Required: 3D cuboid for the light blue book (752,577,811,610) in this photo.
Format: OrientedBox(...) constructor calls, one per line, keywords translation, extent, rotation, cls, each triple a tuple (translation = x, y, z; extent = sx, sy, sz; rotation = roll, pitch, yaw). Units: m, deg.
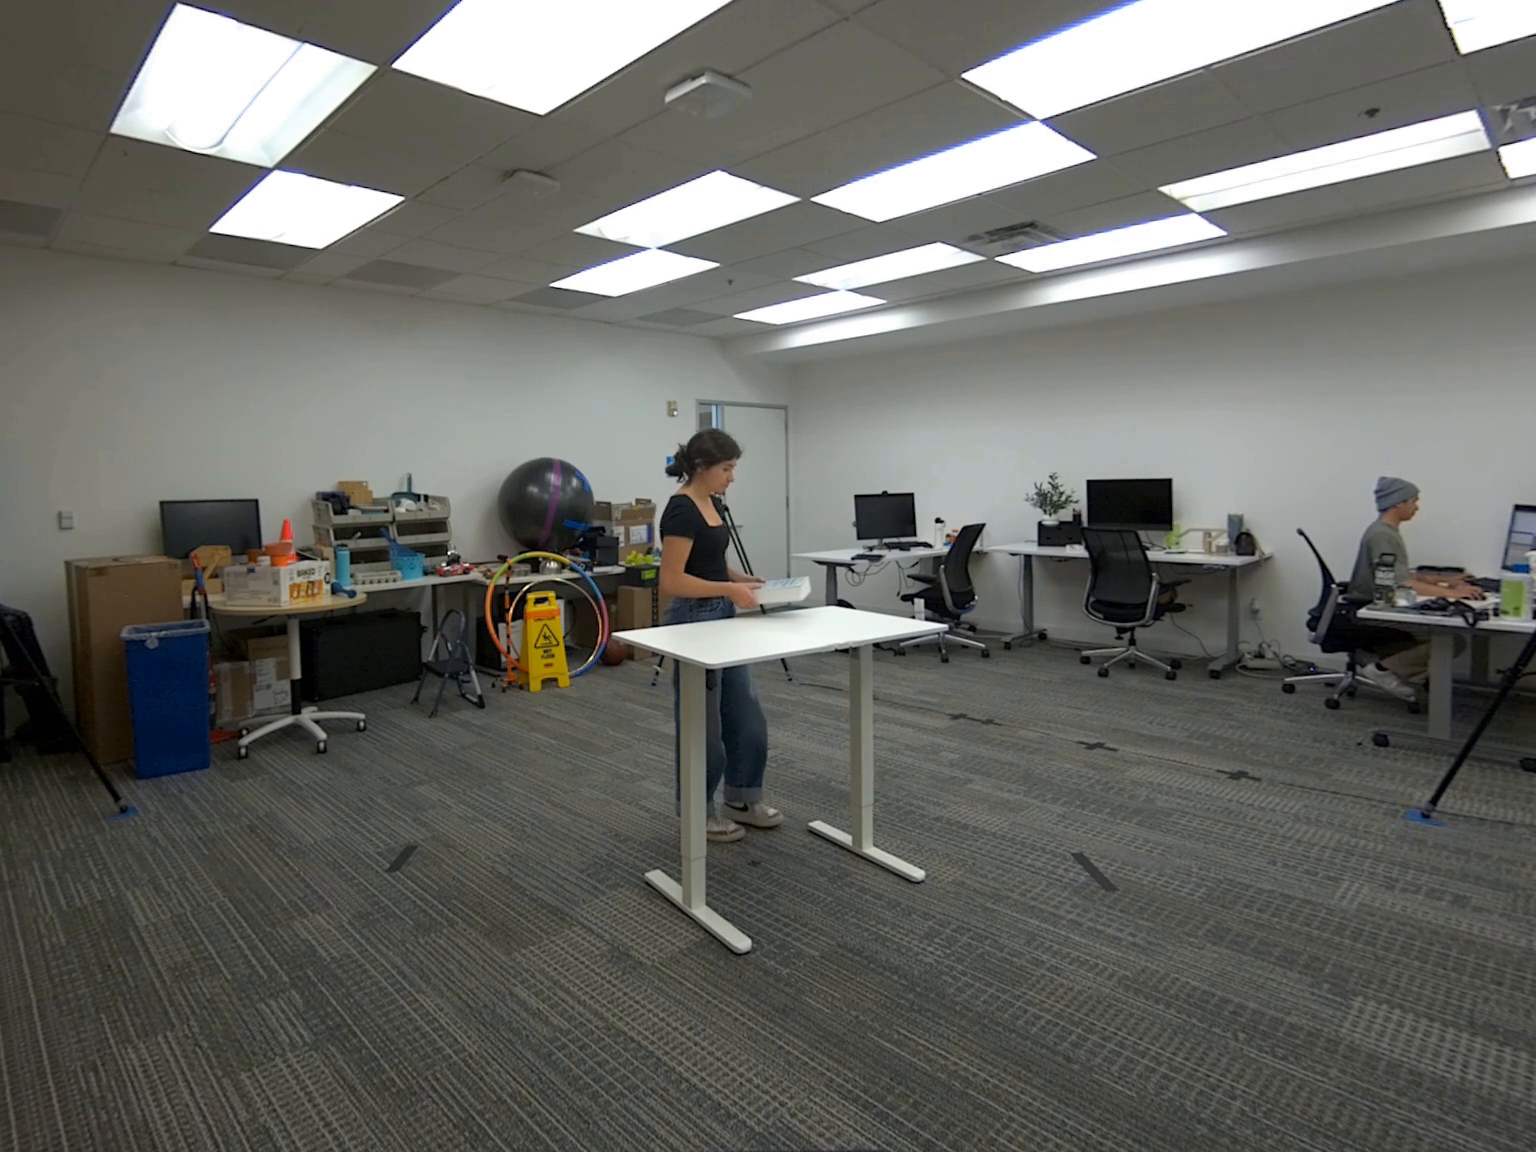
OrientedBox(translation=(0.008, 0.060, 3.238), extent=(0.265, 0.059, 0.190), rotation=(-6, 7, 16), cls="light blue book")
